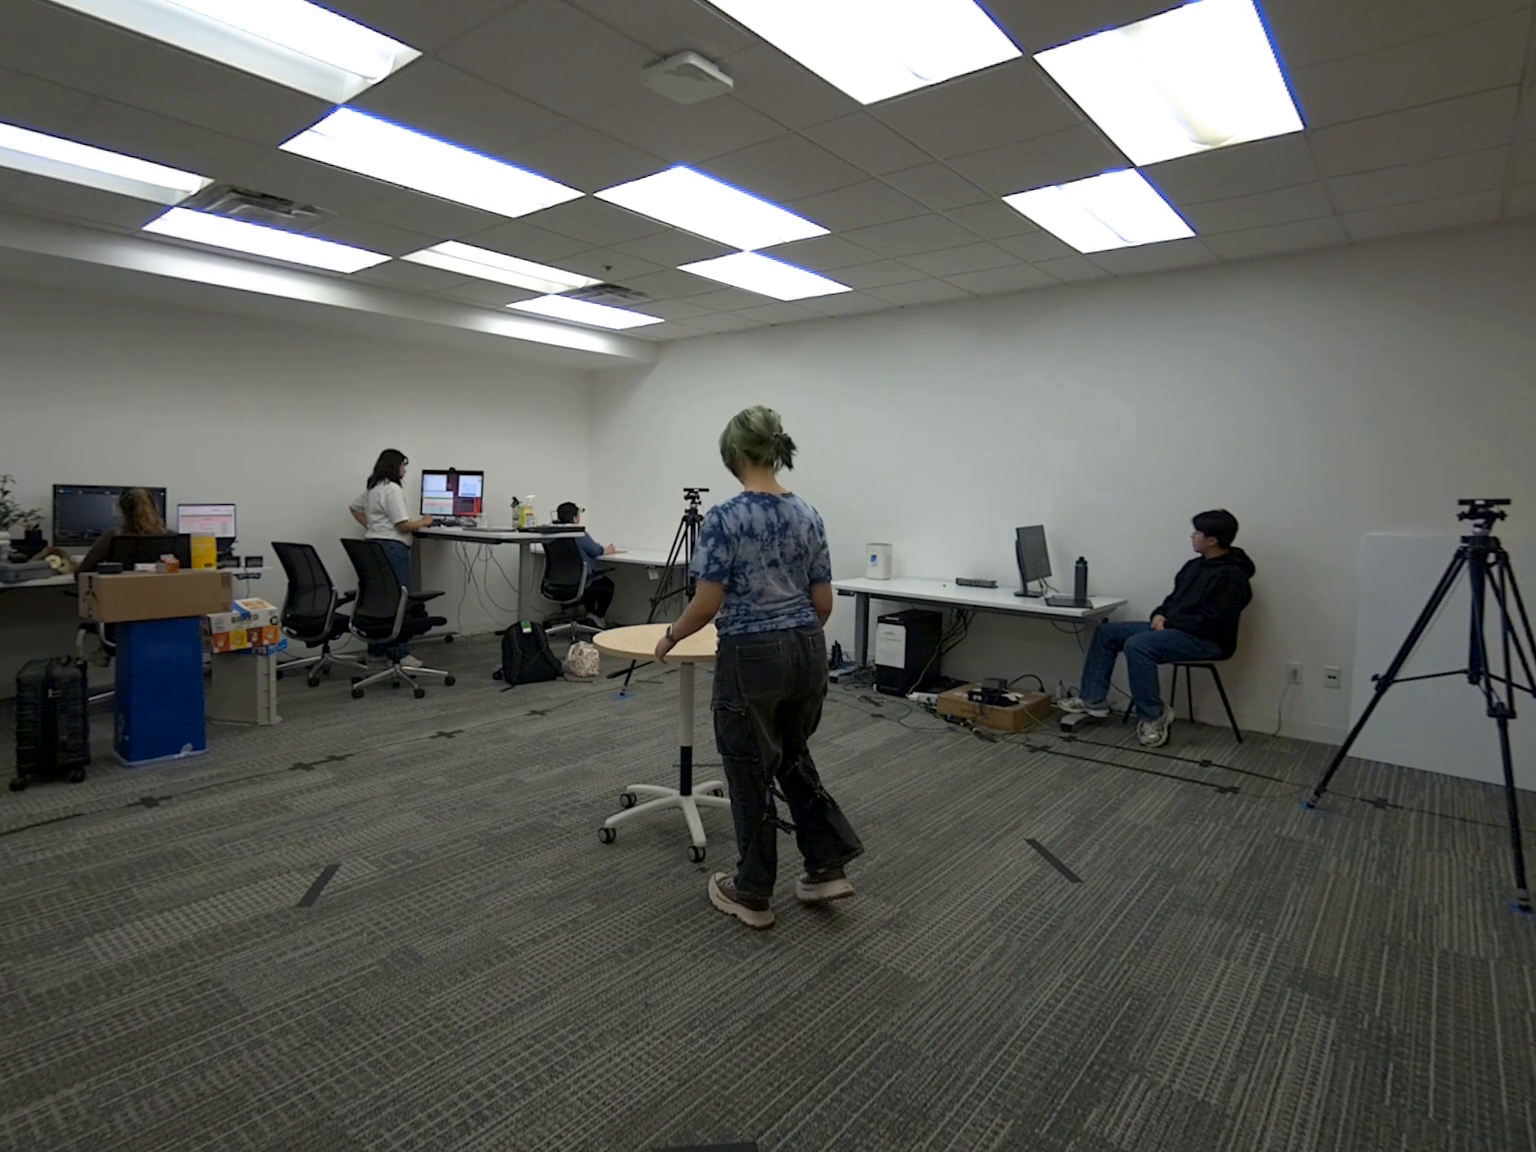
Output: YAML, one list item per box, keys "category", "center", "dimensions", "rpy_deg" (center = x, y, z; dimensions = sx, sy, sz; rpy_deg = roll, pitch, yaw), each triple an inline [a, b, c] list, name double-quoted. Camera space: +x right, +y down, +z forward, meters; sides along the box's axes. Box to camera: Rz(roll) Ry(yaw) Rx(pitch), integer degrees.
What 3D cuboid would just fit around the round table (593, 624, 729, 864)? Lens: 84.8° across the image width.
- category: "round table"
  center: [-0.357, 0.643, 3.471]
  dimensions: [0.763, 0.792, 0.767]
  rpy_deg: [0, 4, -2]
